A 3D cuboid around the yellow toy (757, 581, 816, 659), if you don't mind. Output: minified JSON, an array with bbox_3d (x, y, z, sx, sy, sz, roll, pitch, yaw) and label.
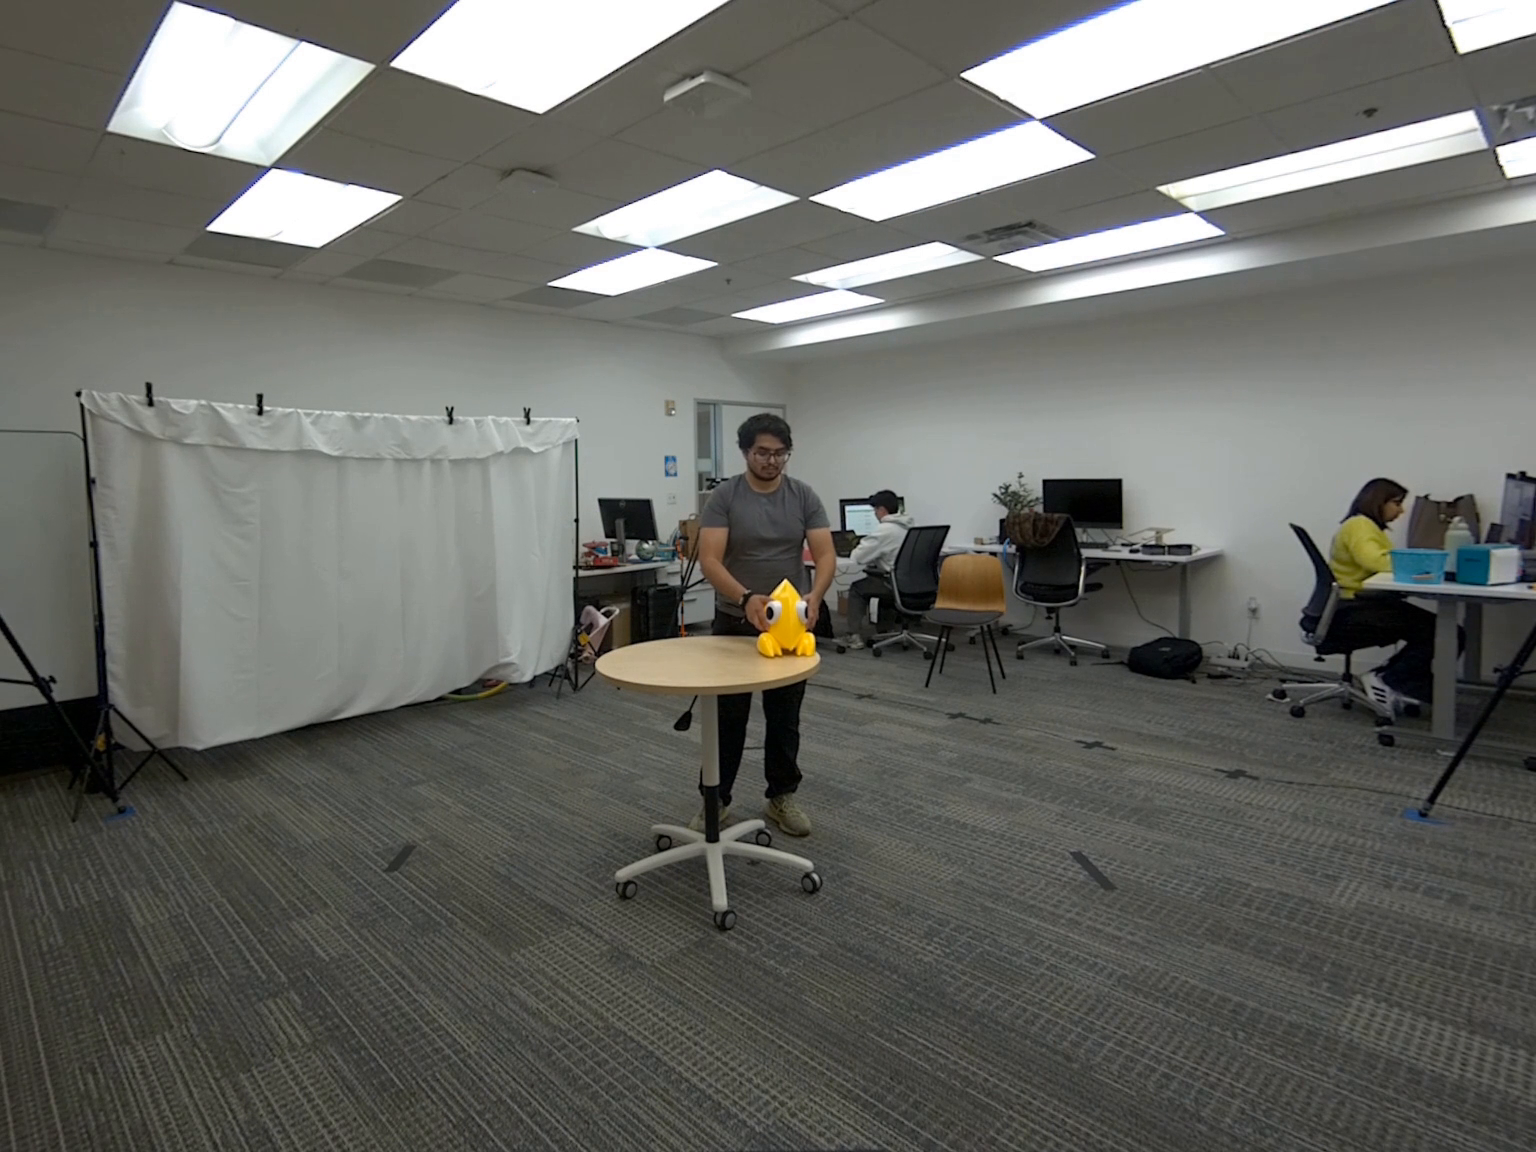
[{"bbox_3d":[0.060,0.139,2.965,0.203,0.228,0.197,-2,14,-8],"label":"yellow toy"}]
